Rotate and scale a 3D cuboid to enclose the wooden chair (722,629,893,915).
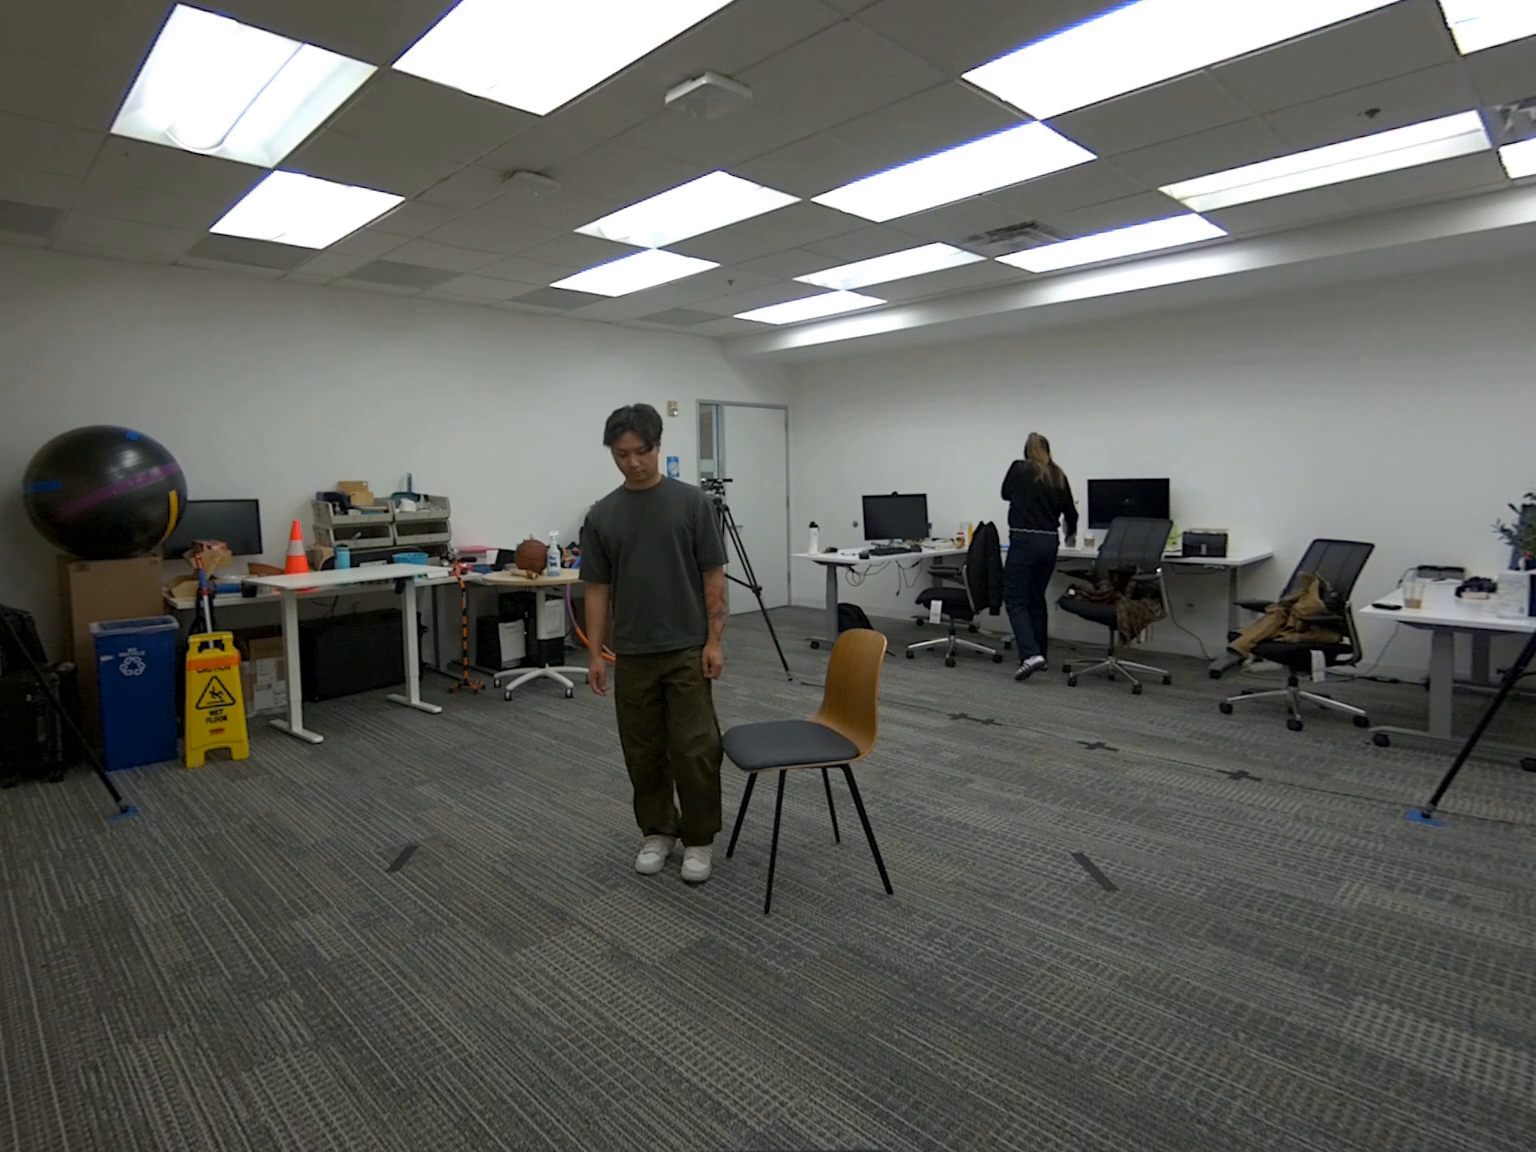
[{"bbox_3d":[0.122,0.625,2.974,0.514,0.875,0.487,2,3,-18],"label":"wooden chair"}]
